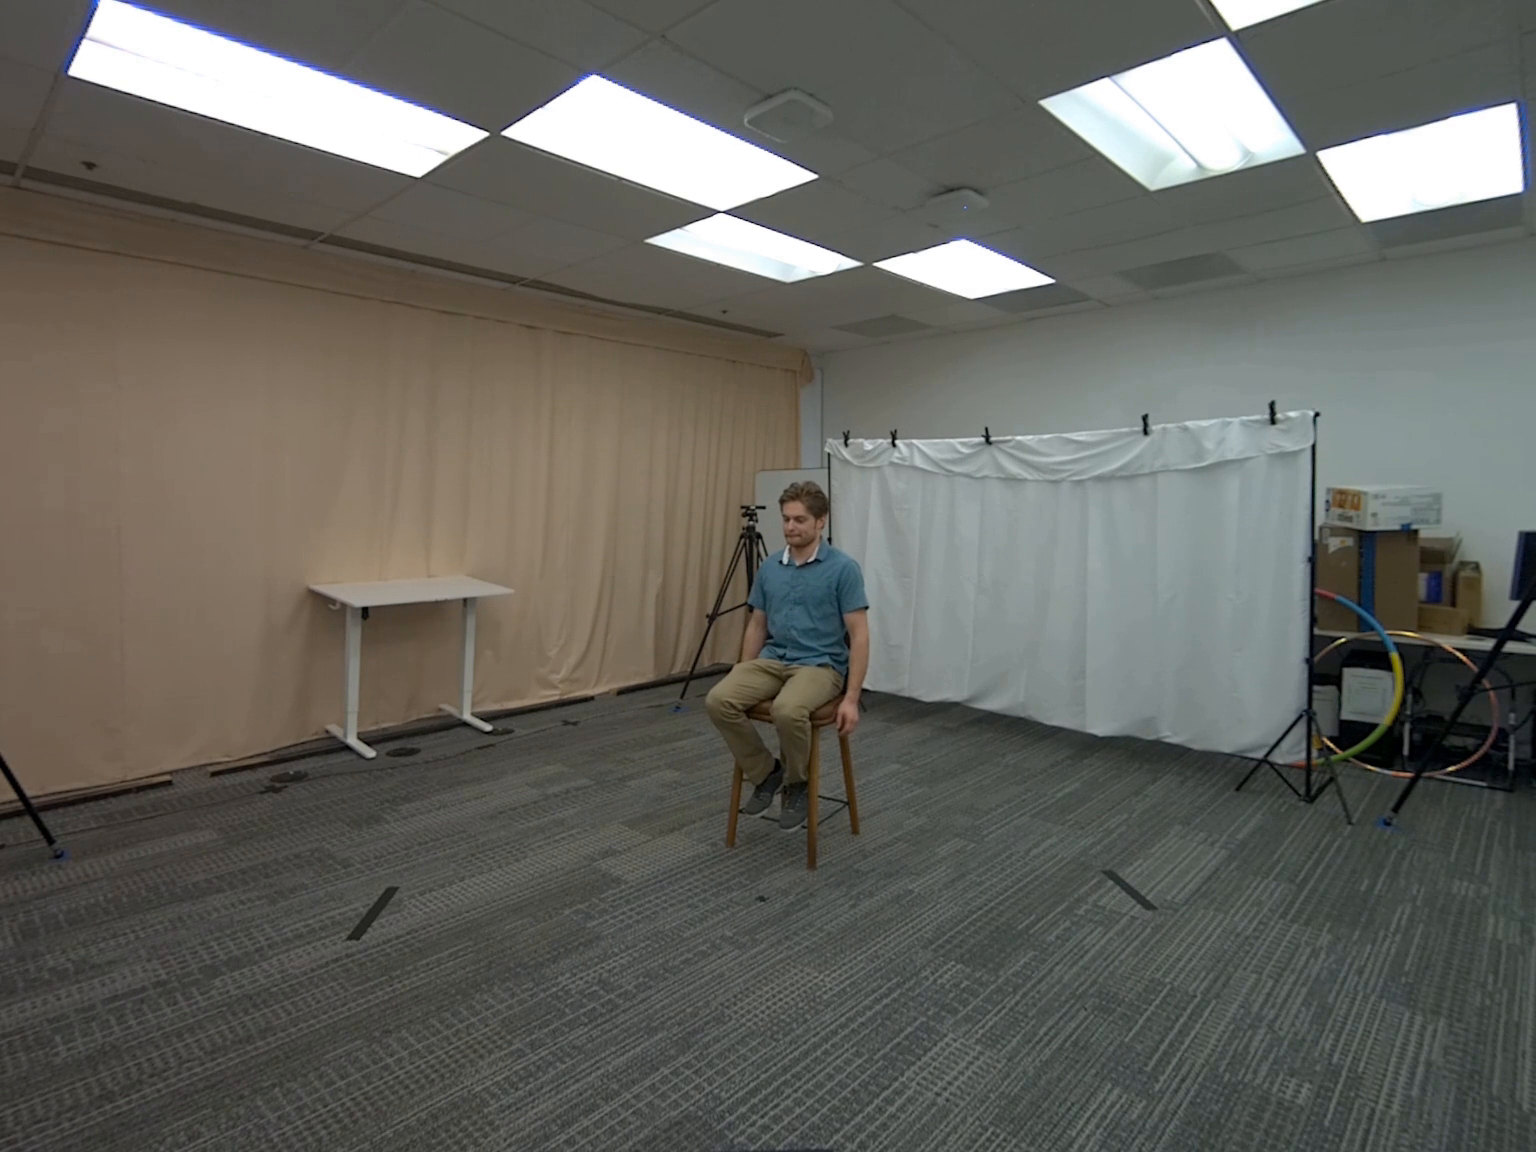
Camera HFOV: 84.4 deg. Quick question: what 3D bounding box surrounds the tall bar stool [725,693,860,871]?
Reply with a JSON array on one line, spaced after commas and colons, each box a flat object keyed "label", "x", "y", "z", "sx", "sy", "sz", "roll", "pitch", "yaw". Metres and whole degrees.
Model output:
[{"label": "tall bar stool", "x": 0.127, "y": 0.667, "z": 3.490, "sx": 0.471, "sy": 0.889, "sz": 0.454, "roll": 3, "pitch": 2, "yaw": 34}]
